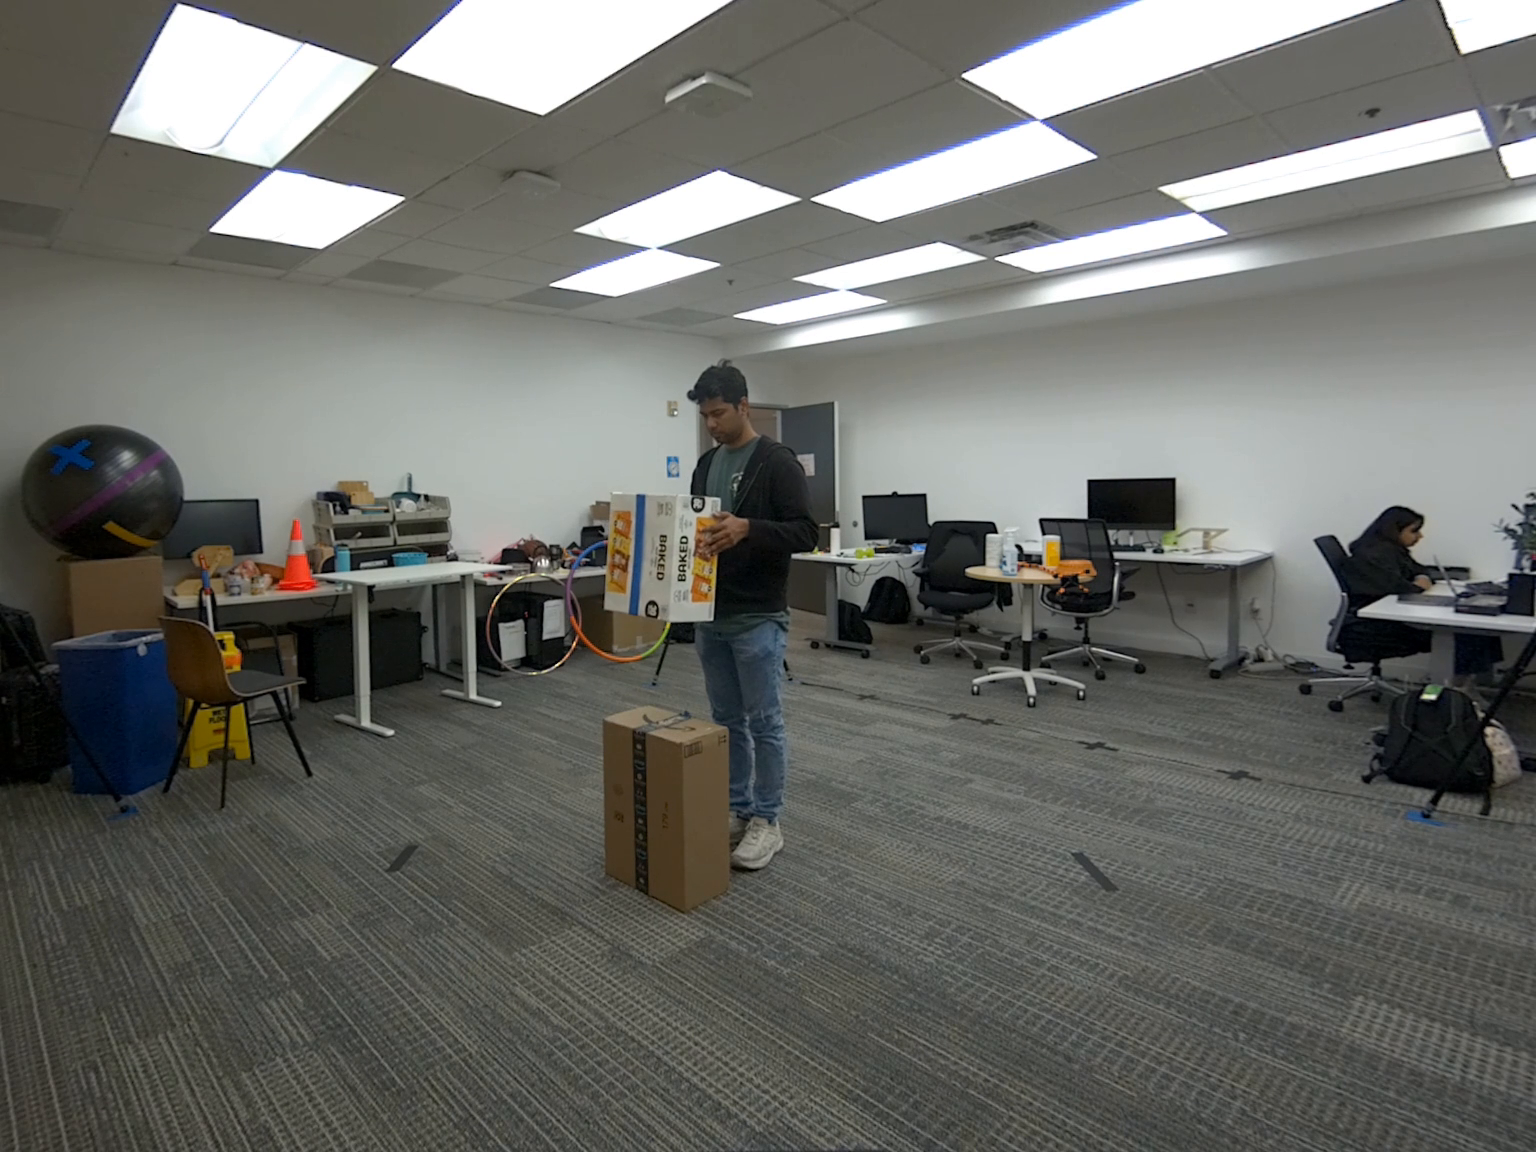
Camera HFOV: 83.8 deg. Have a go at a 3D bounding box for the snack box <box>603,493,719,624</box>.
[{"bbox_3d":[-0.353,-0.058,2.875,0.351,0.405,0.199,5,2,44],"label":"snack box"}]
